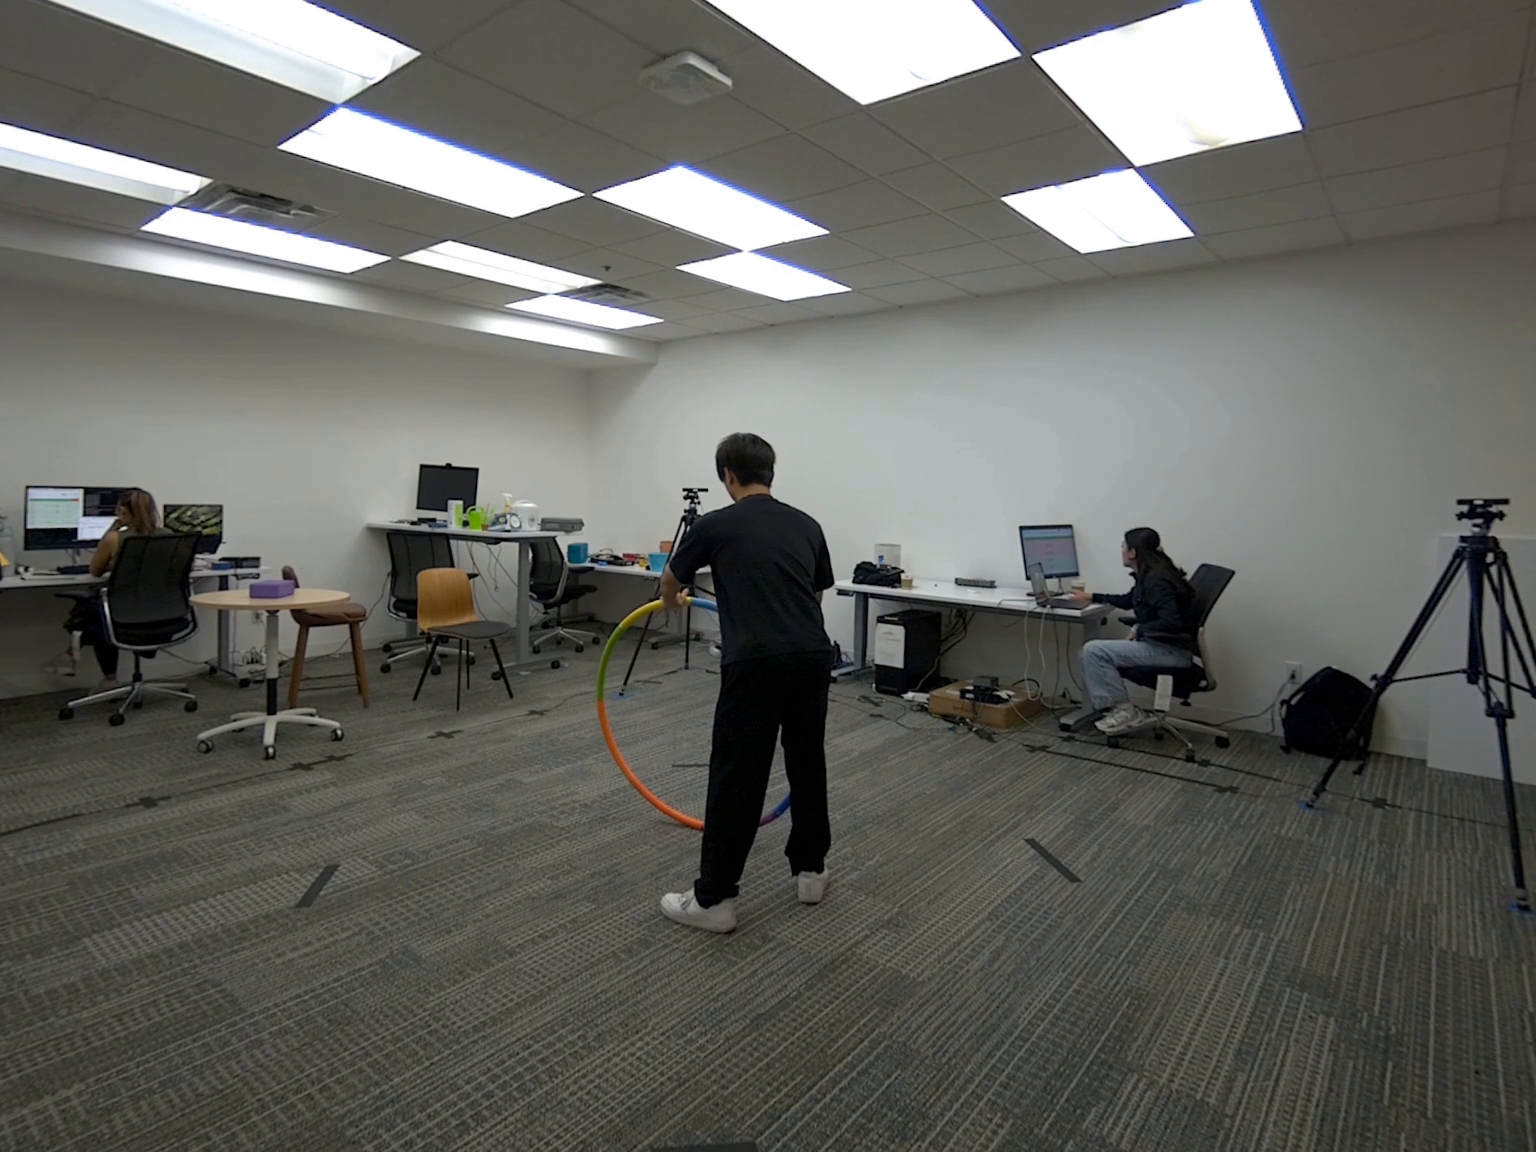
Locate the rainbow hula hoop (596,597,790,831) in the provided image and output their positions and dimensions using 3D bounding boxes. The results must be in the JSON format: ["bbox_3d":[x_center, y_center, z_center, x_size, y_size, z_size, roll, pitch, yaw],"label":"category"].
[{"bbox_3d":[-0.297,0.563,3.394,1.006,0.968,0.035,3,12,27],"label":"rainbow hula hoop"}]
